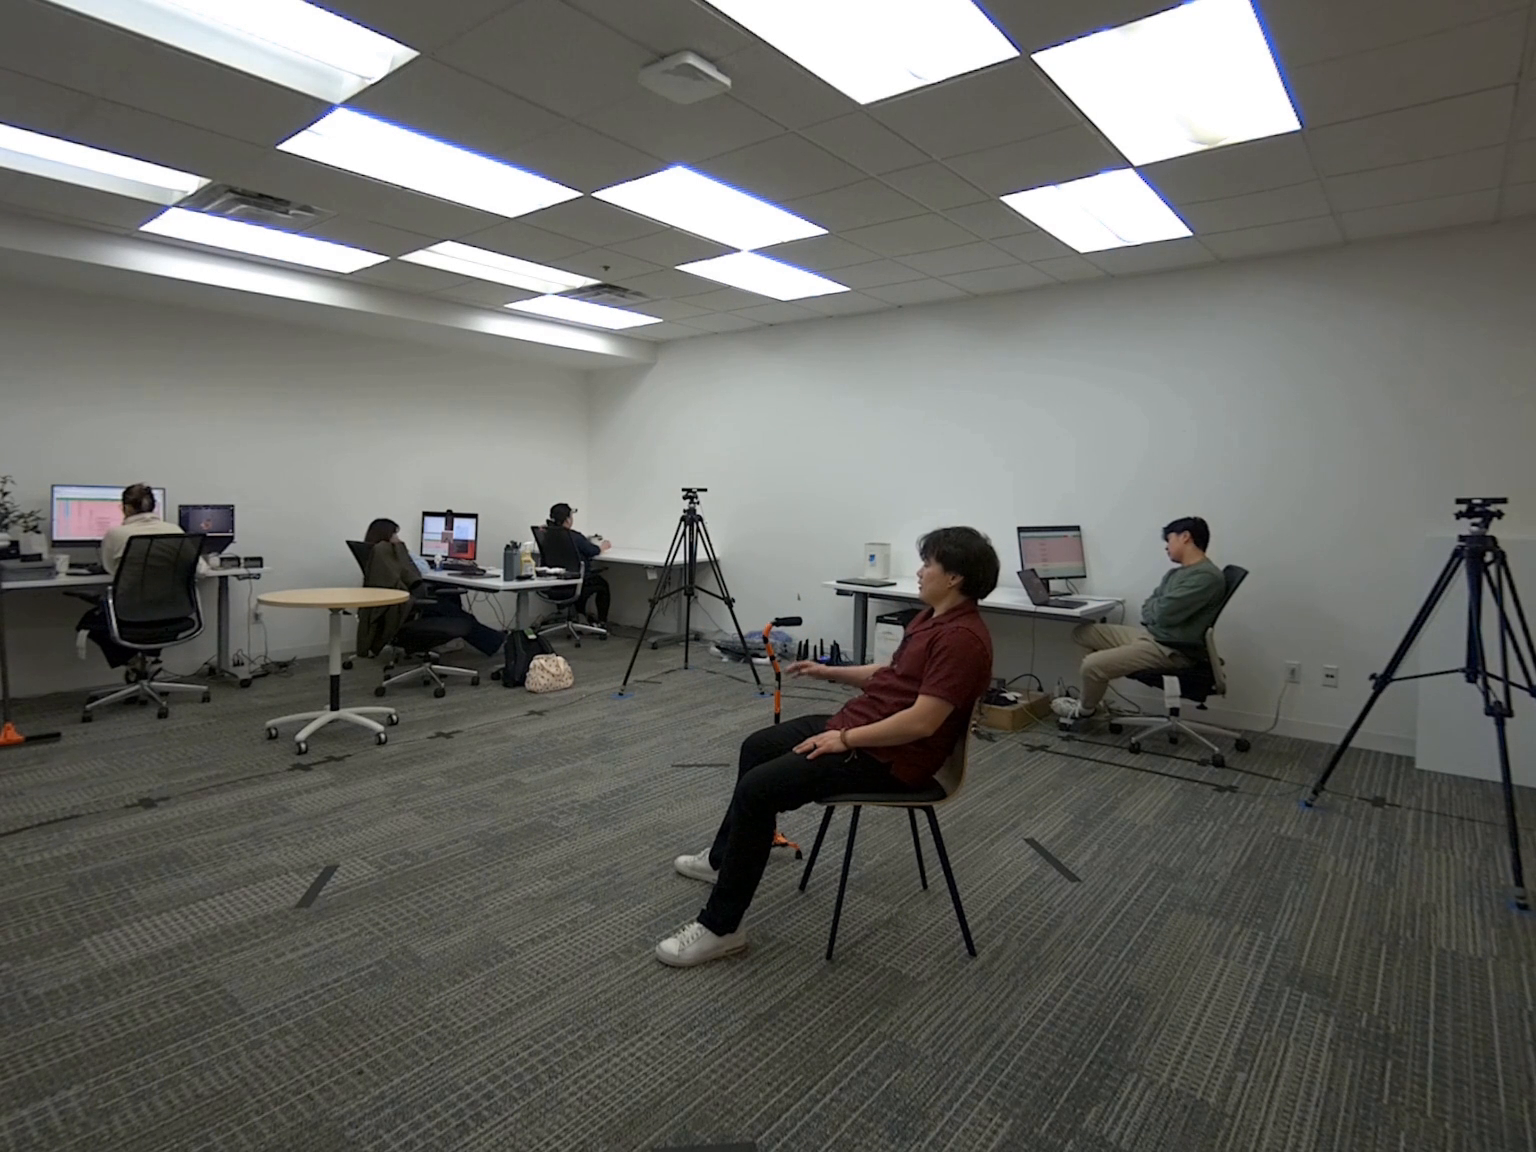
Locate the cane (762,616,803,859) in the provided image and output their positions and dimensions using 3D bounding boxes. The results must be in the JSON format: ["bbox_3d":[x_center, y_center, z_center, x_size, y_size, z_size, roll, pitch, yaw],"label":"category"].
[{"bbox_3d":[0.018,0.603,3.218,0.201,0.905,0.156,0,3,-29],"label":"cane"}]
